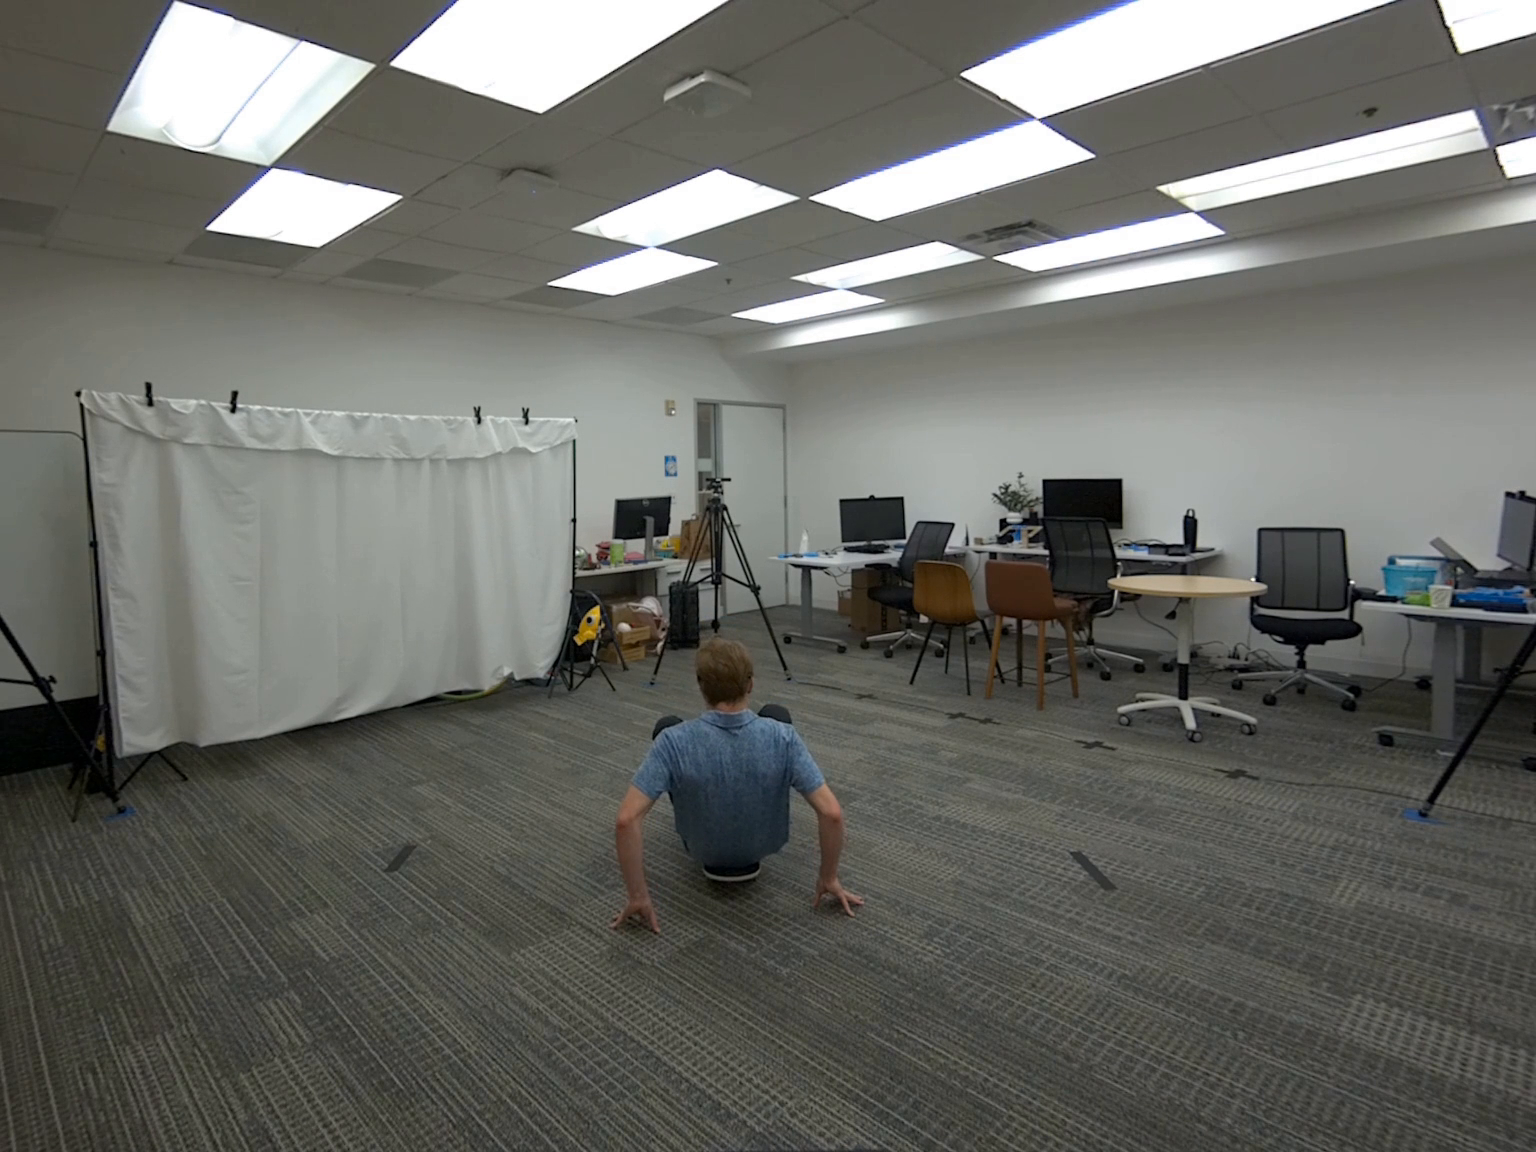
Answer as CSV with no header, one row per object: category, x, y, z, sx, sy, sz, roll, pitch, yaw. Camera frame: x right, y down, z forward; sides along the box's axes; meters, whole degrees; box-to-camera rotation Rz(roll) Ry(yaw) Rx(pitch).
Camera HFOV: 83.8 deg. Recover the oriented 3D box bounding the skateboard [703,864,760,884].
skateboard,-0.154,0.990,3.176,0.193,0.109,0.791,-4,8,-2
